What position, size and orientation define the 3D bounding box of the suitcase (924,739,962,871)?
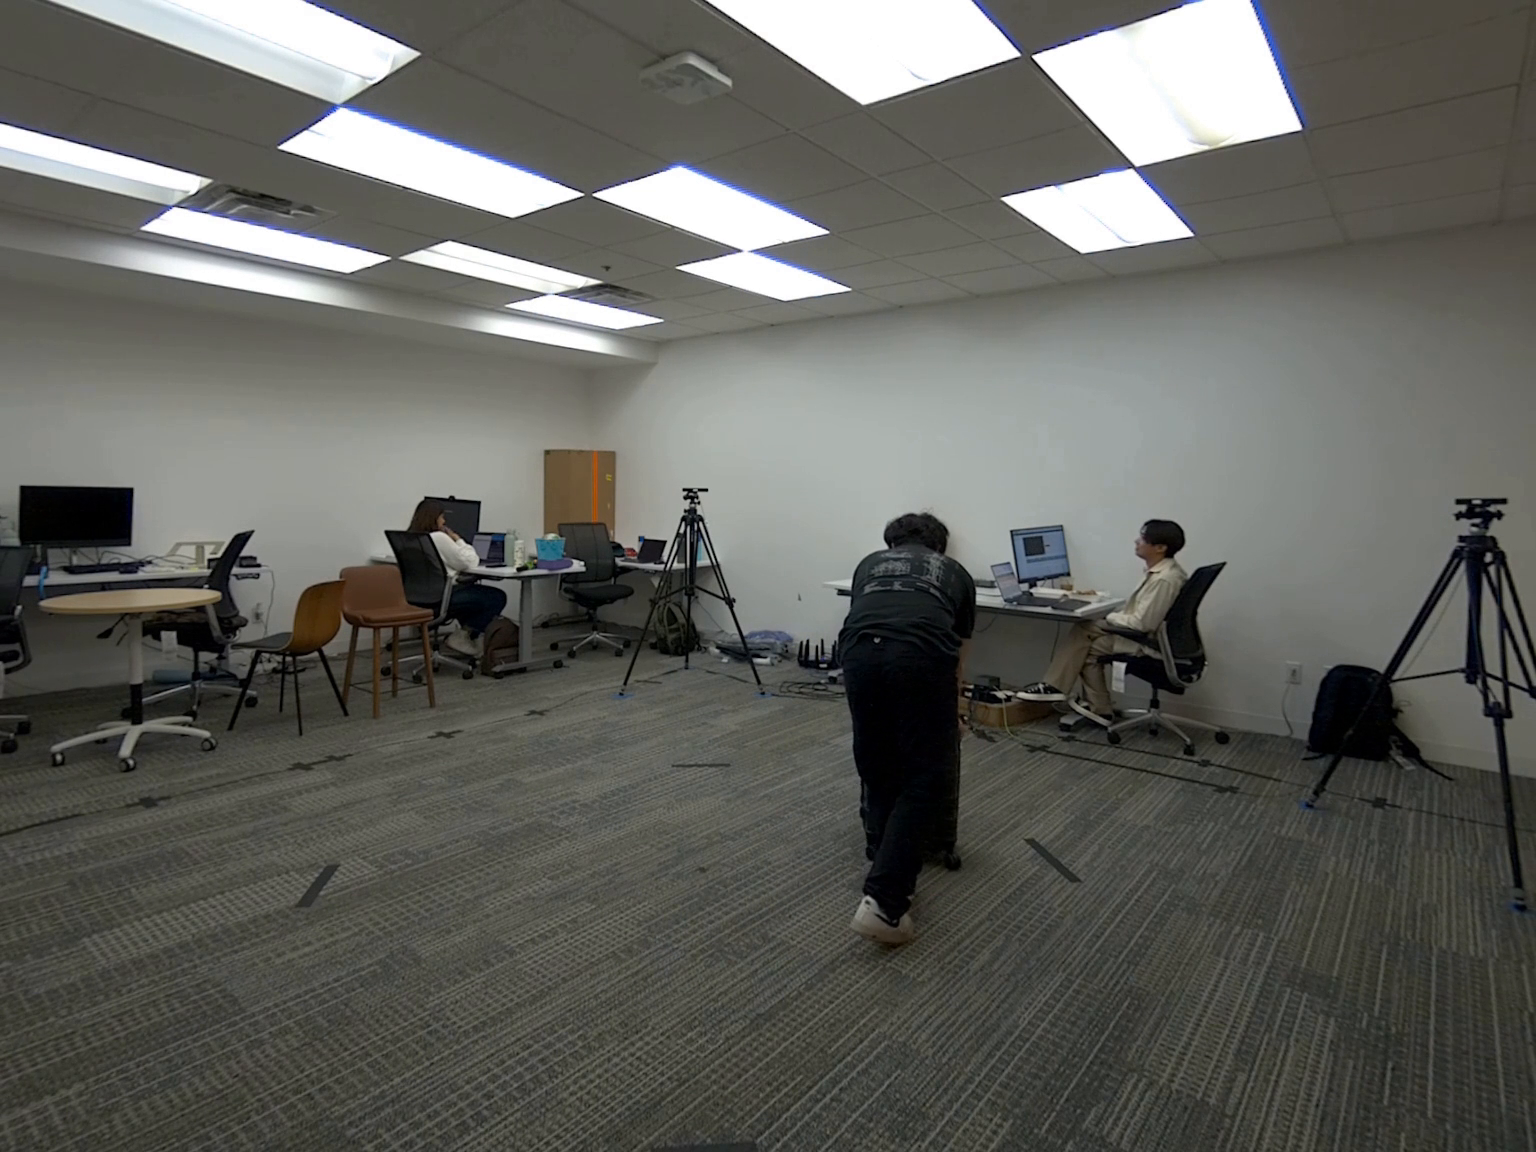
[{"bbox_3d":[0.548,0.788,3.307,0.380,0.548,0.246,2,2,10],"label":"suitcase"}]
